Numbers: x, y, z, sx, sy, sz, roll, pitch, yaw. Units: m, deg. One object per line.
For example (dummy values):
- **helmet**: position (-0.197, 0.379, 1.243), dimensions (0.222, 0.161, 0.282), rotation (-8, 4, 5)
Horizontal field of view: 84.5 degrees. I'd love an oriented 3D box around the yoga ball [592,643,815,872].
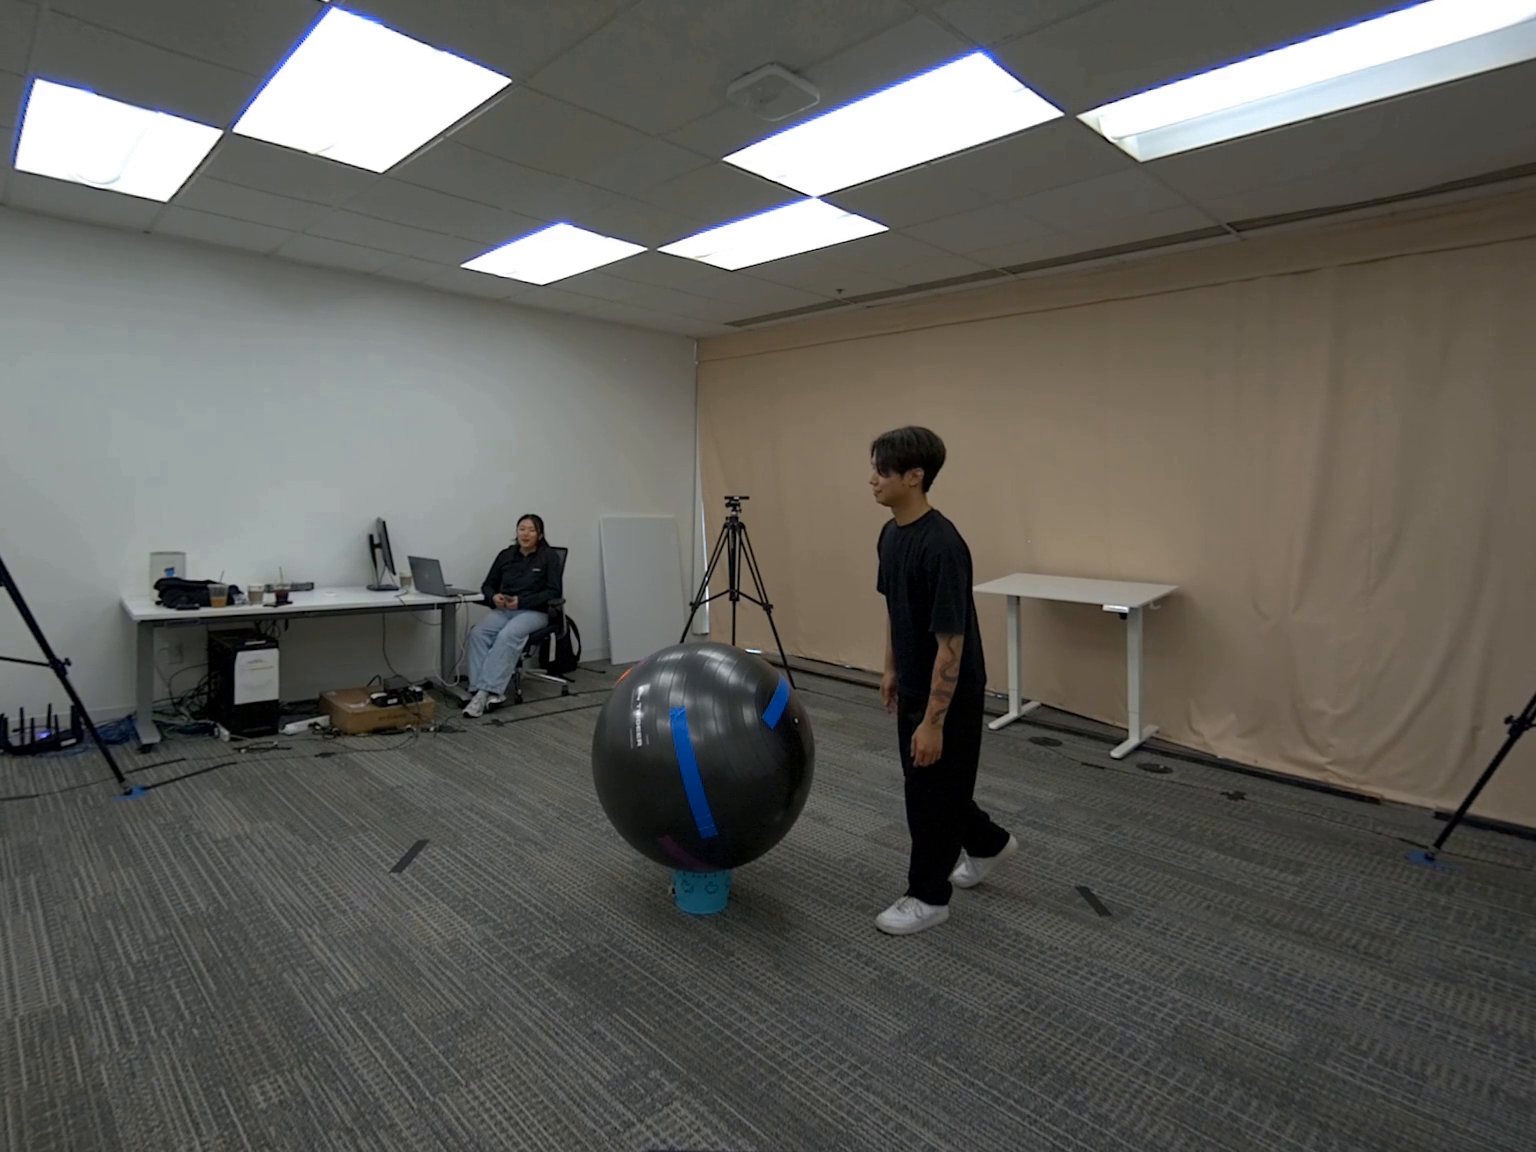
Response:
- **yoga ball**: position (-0.229, 0.611, 2.880), dimensions (0.757, 0.756, 0.761), rotation (1, 4, -1)
